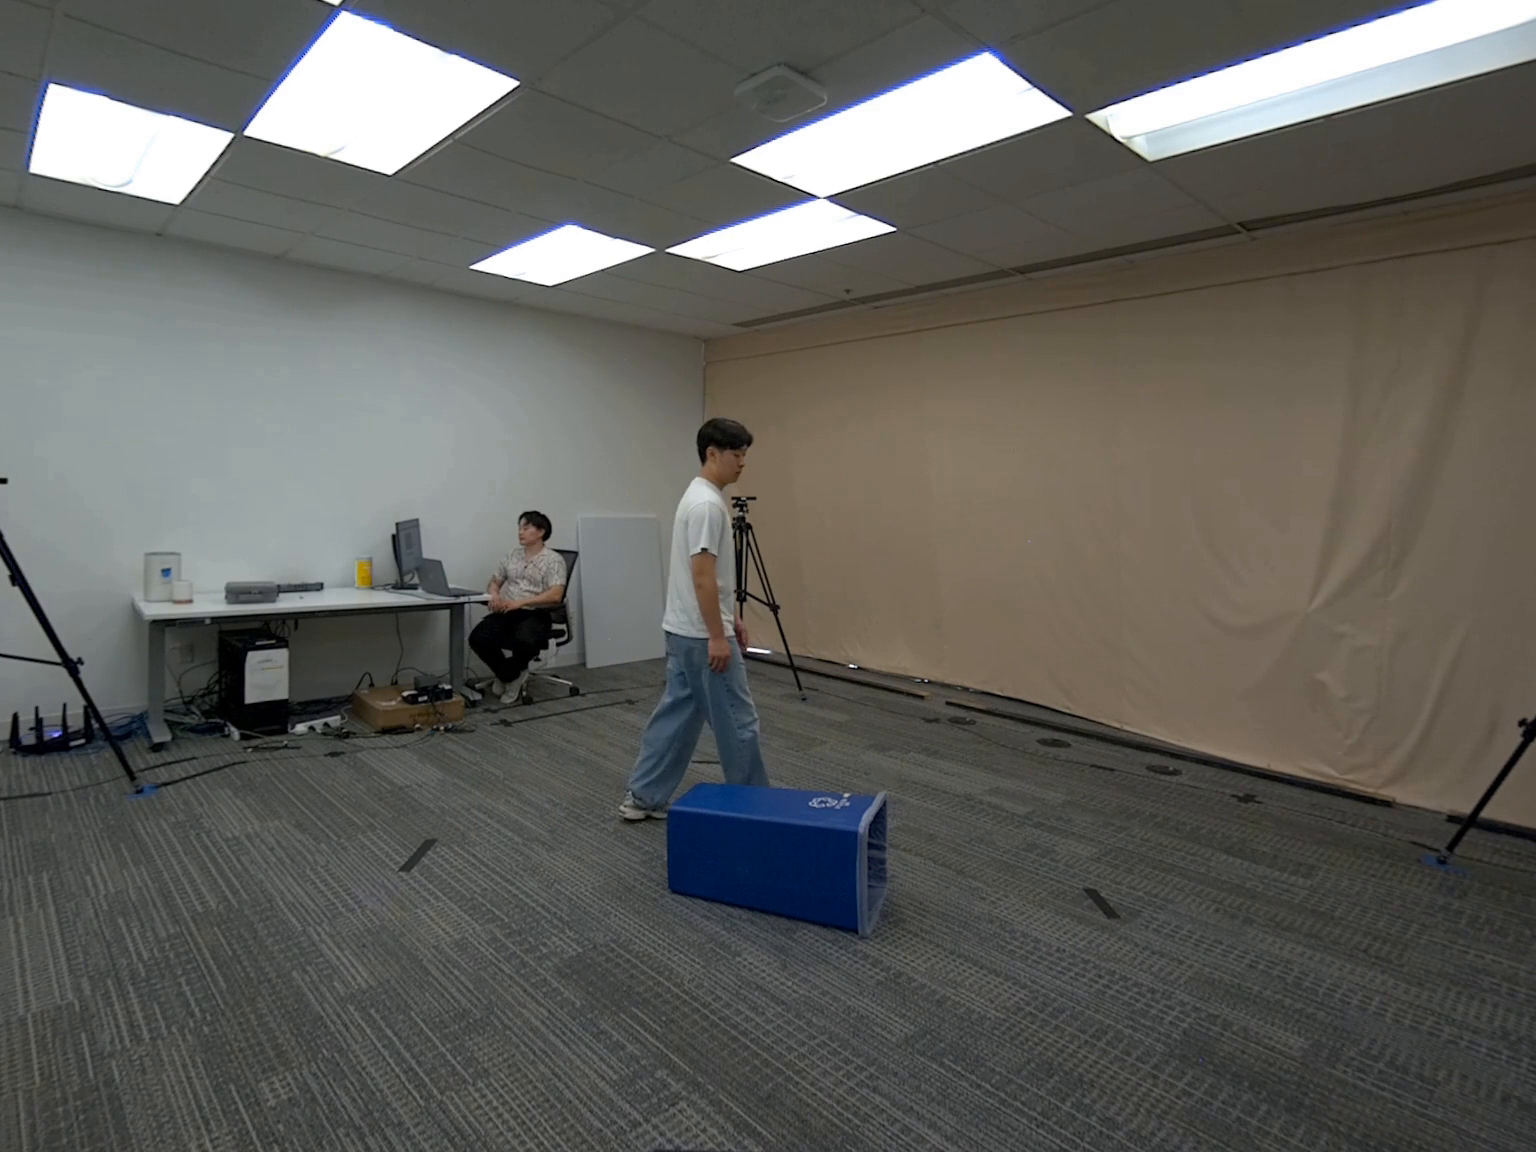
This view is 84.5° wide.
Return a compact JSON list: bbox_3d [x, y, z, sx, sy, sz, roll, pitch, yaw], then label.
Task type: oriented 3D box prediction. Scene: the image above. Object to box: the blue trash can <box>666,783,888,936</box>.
[{"bbox_3d":[0.028,0.954,2.947,0.725,0.377,0.369,0,3,21],"label":"blue trash can"}]
